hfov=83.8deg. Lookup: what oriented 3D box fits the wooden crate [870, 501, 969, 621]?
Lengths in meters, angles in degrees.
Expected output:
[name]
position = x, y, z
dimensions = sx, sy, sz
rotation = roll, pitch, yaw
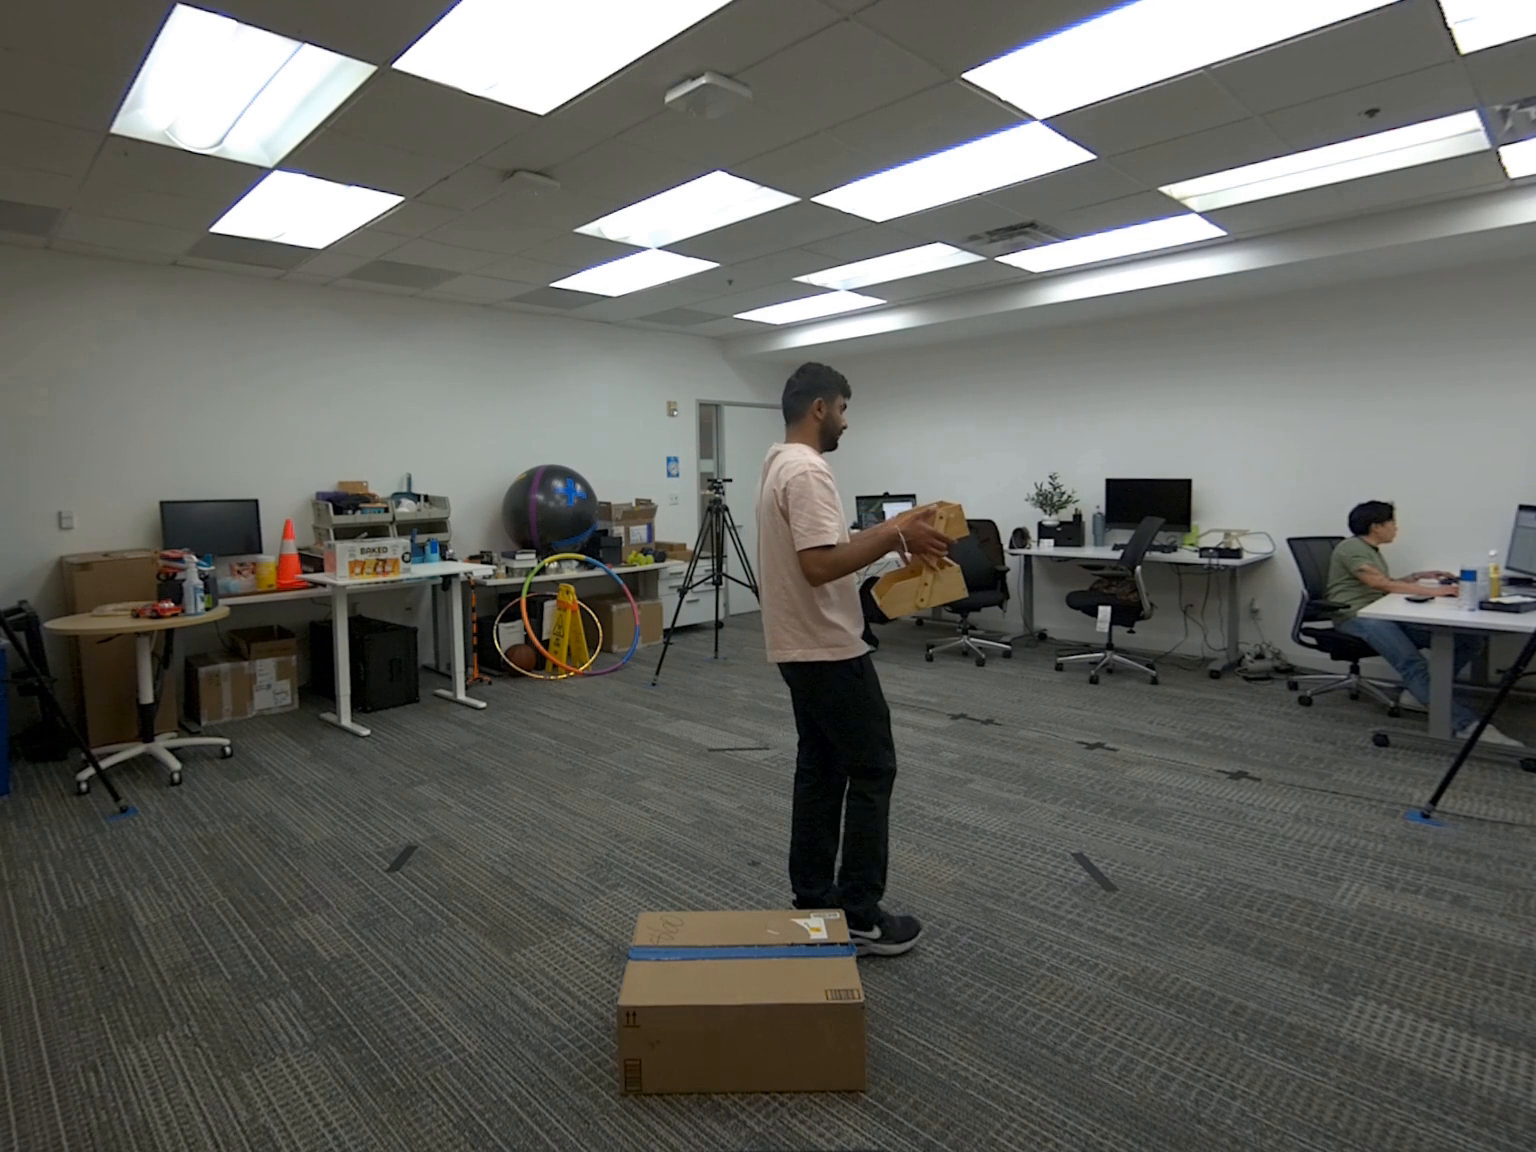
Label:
[wooden crate]
position = 0.434, -0.058, 2.557
dimensions = 0.303, 0.272, 0.324
rotation = -16, 4, 6
